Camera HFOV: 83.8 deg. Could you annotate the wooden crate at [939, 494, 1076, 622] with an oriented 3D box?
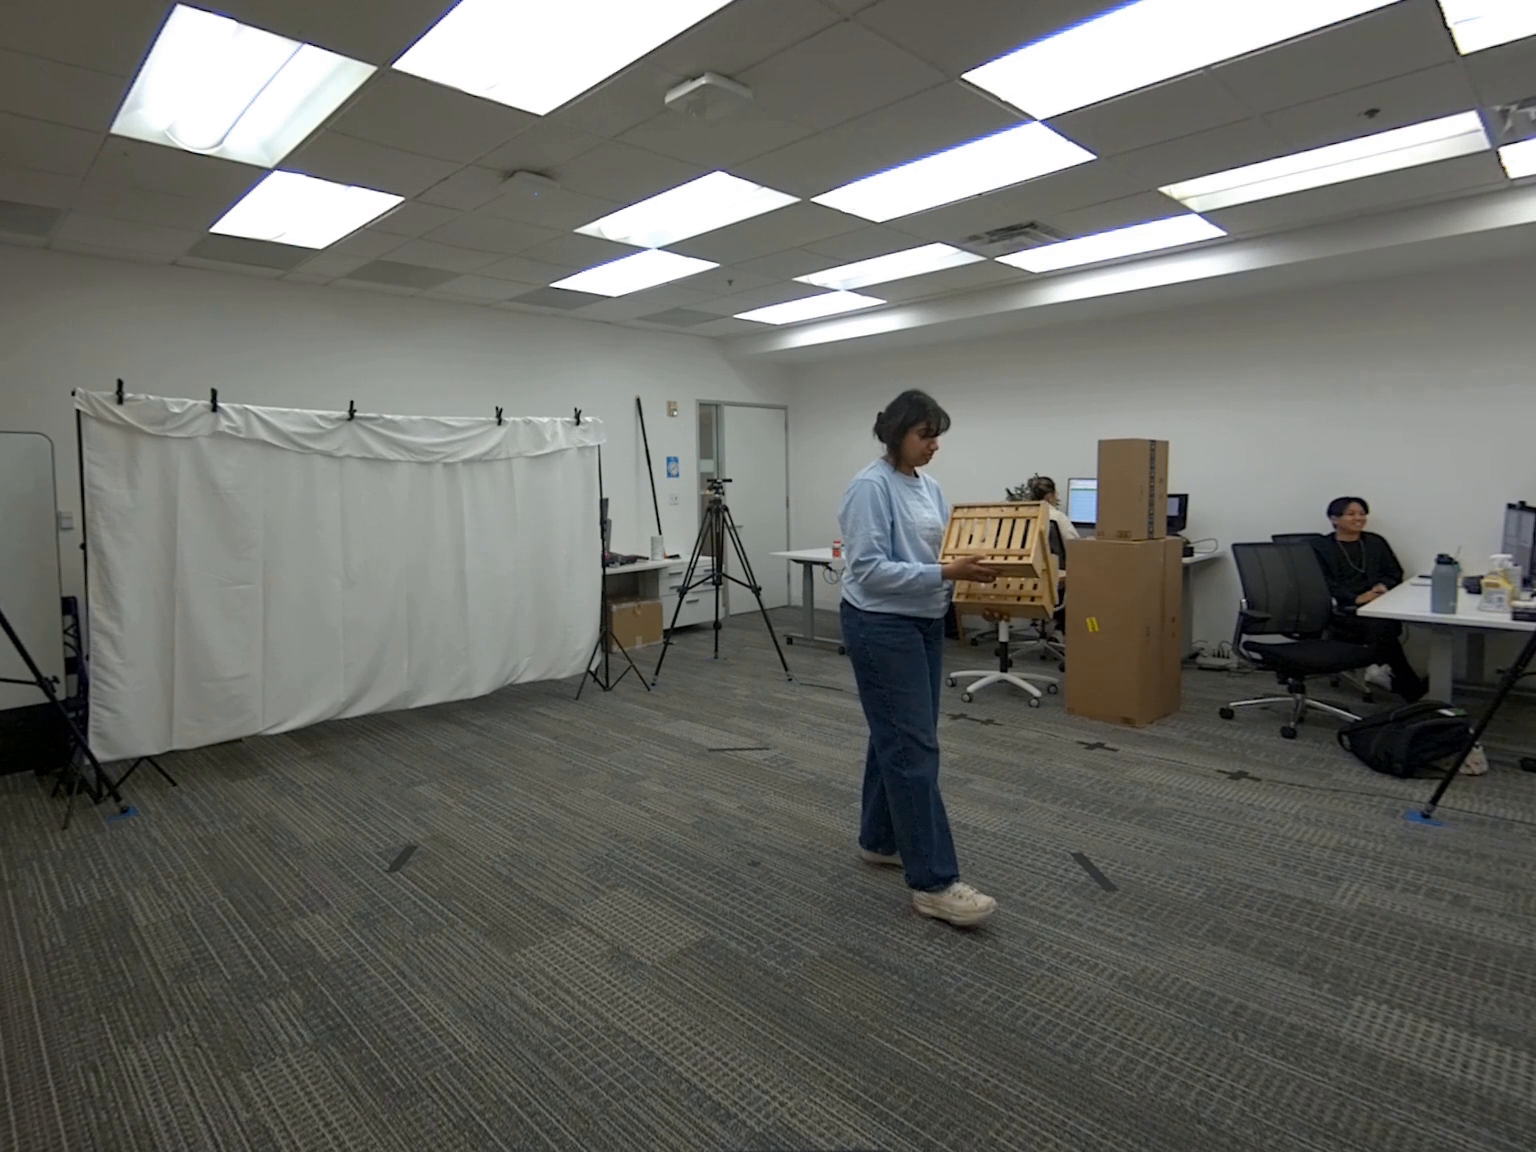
[{"bbox_3d":[0.774,-0.058,2.781,0.333,0.306,0.262,0,-31,36],"label":"wooden crate"}]
